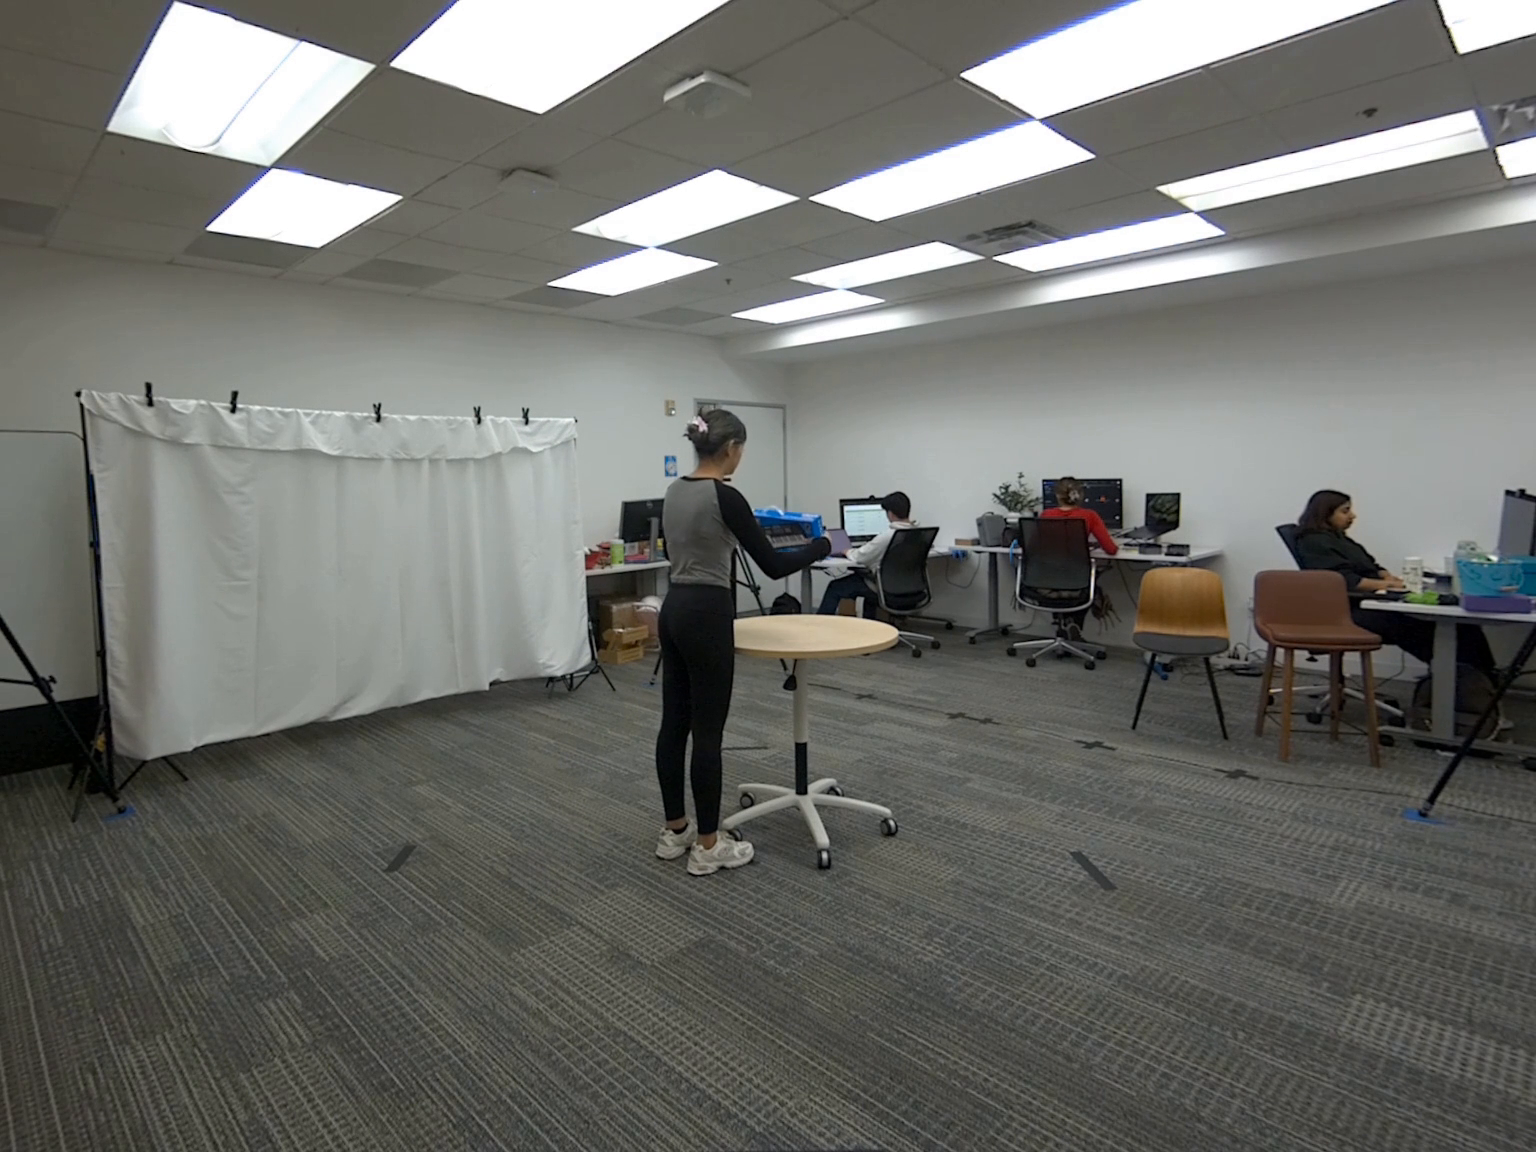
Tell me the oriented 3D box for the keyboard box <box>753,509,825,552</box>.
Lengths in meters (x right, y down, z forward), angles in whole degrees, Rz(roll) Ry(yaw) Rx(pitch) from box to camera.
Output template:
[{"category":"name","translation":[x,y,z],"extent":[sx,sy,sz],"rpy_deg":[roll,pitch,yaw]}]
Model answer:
[{"category":"keyboard box","translation":[0.036,-0.155,3.368],"extent":[0.451,0.172,0.058],"rpy_deg":[9,30,43]}]
